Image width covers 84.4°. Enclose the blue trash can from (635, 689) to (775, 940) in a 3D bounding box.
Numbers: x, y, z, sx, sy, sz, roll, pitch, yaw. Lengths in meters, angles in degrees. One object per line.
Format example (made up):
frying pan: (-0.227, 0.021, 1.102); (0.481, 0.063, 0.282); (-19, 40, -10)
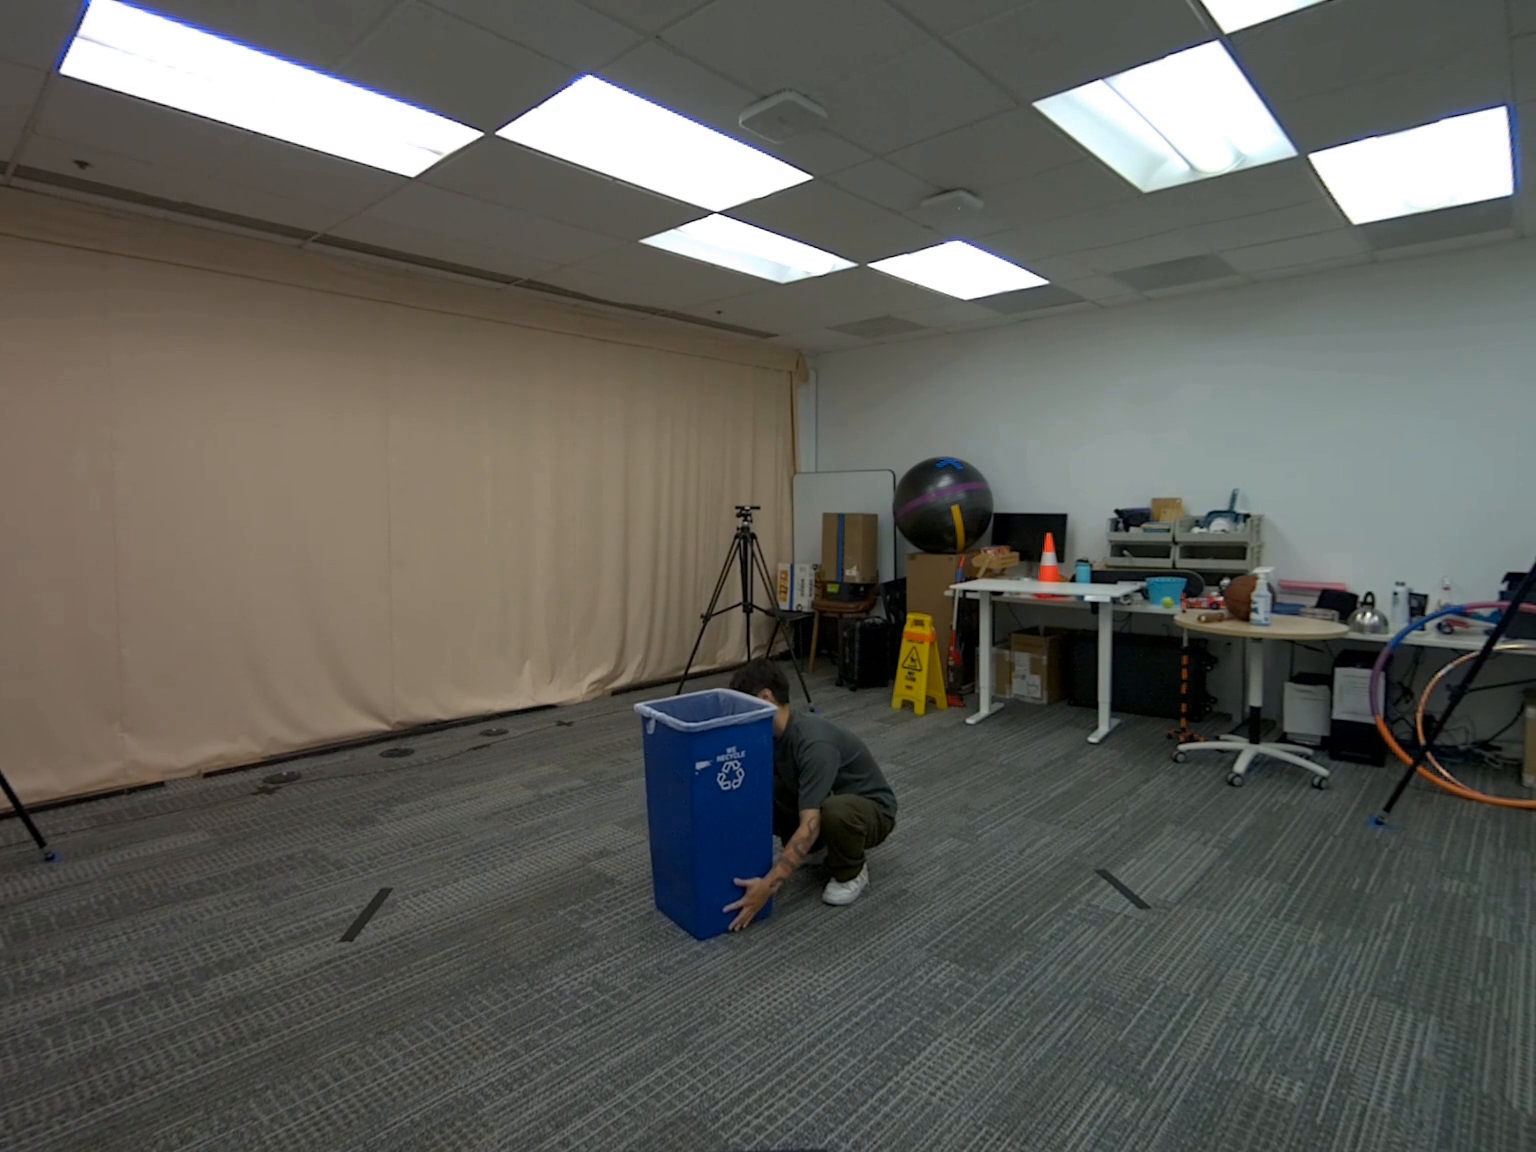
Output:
blue trash can: (-0.196, 0.790, 2.859); (0.367, 0.712, 0.386); (-5, 4, -35)
